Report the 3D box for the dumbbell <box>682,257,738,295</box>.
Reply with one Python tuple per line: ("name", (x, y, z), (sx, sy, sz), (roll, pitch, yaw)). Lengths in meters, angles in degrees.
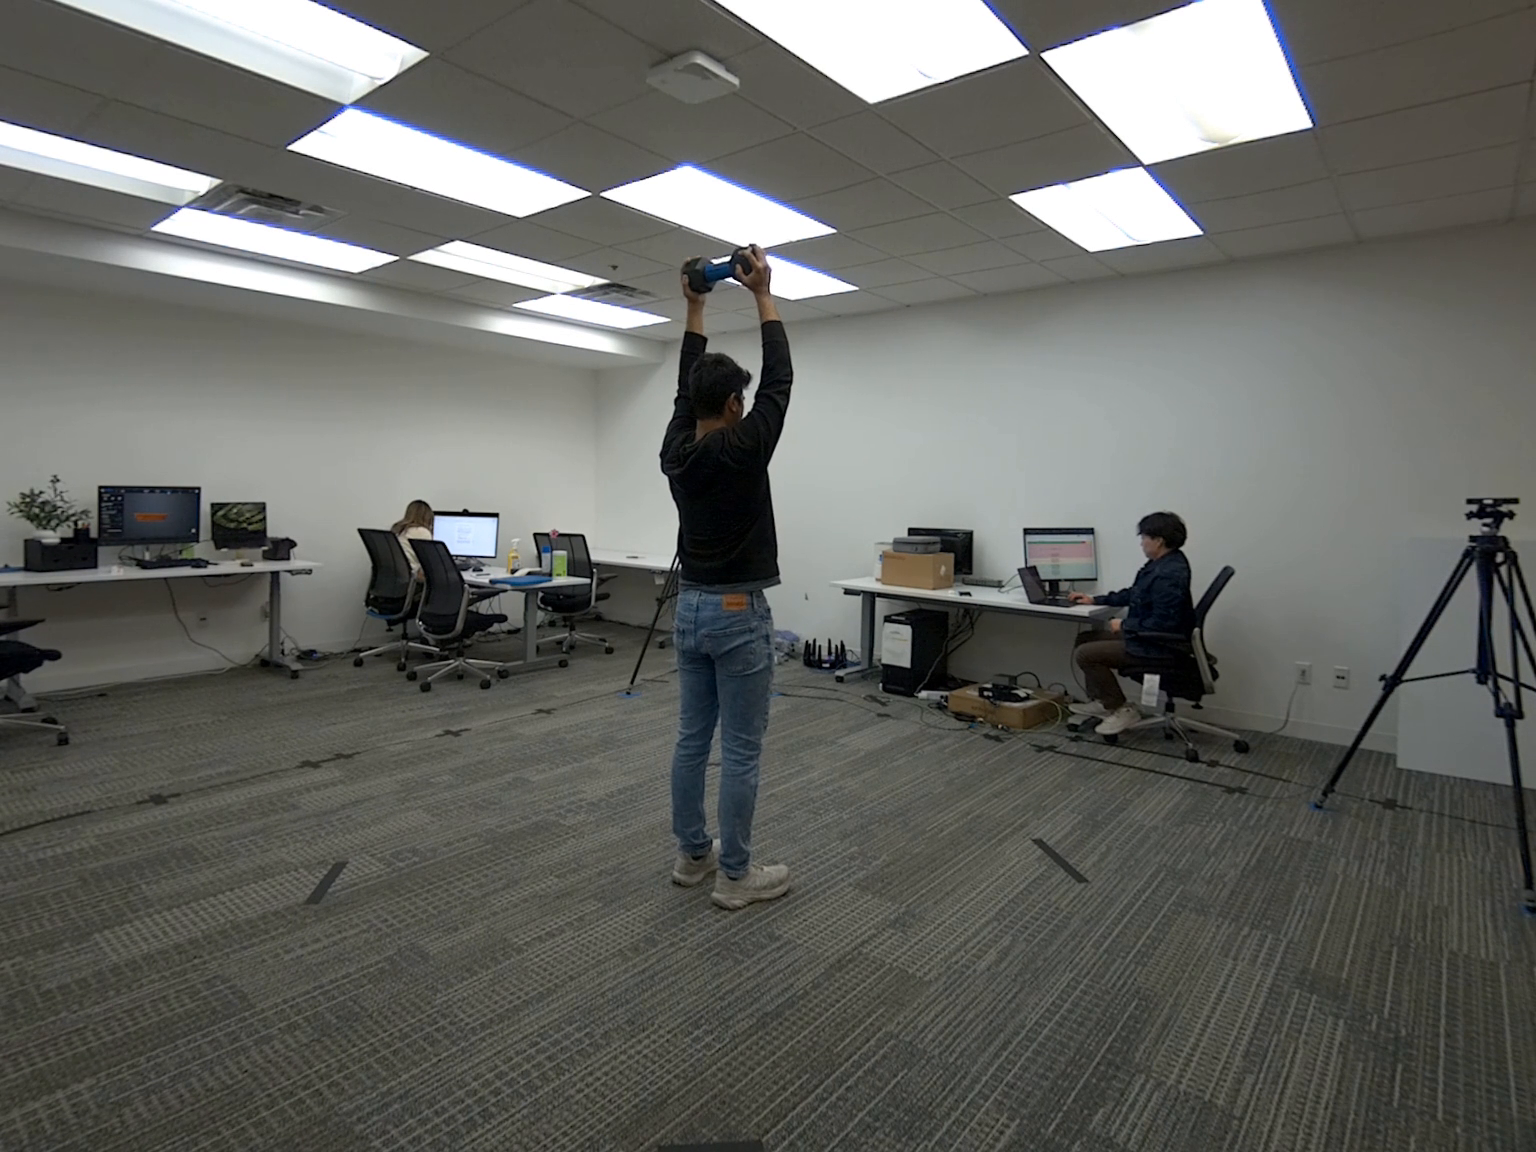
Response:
("dumbbell", (-0.160, -1.050, 2.913), (0.303, 0.109, 0.119), (3, -3, 40))
